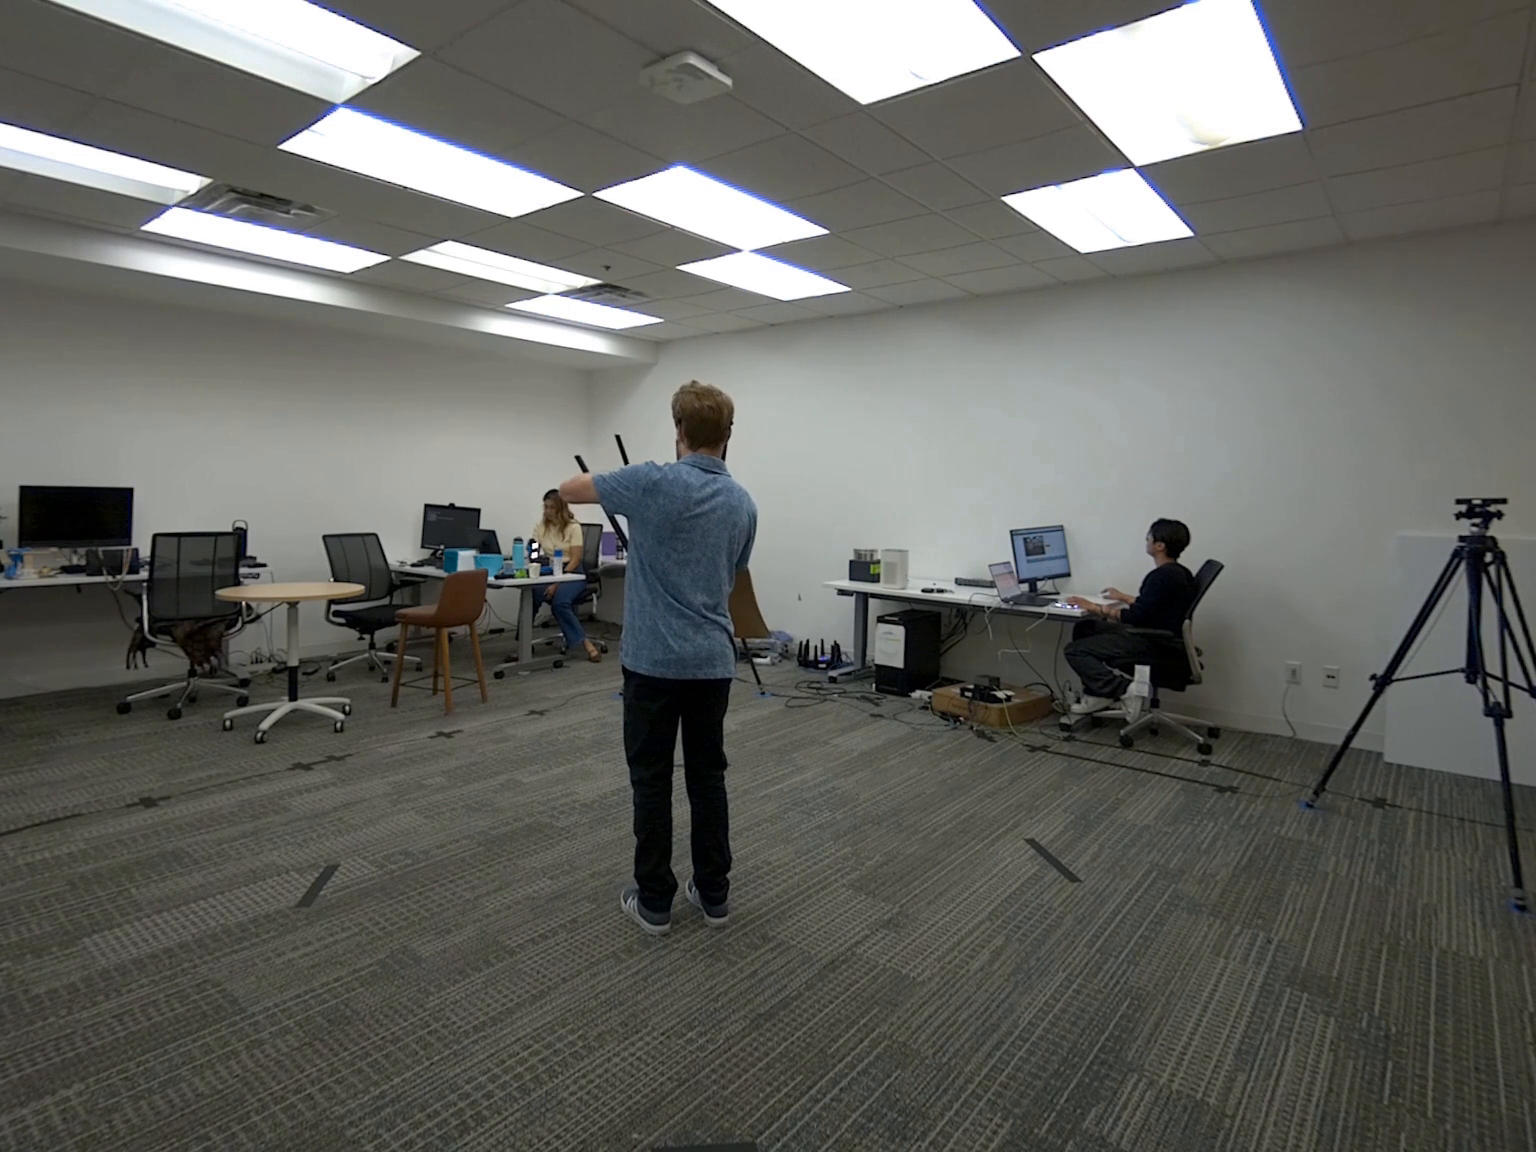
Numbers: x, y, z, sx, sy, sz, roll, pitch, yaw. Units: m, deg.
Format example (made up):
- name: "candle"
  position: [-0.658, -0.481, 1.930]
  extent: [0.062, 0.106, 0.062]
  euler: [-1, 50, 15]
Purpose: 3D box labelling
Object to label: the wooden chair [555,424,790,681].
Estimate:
- name: "wooden chair"
  position: [-0.373, -0.099, 3.185]
  extent: [0.513, 0.873, 0.489]
  euler: [-18, 5, -29]
